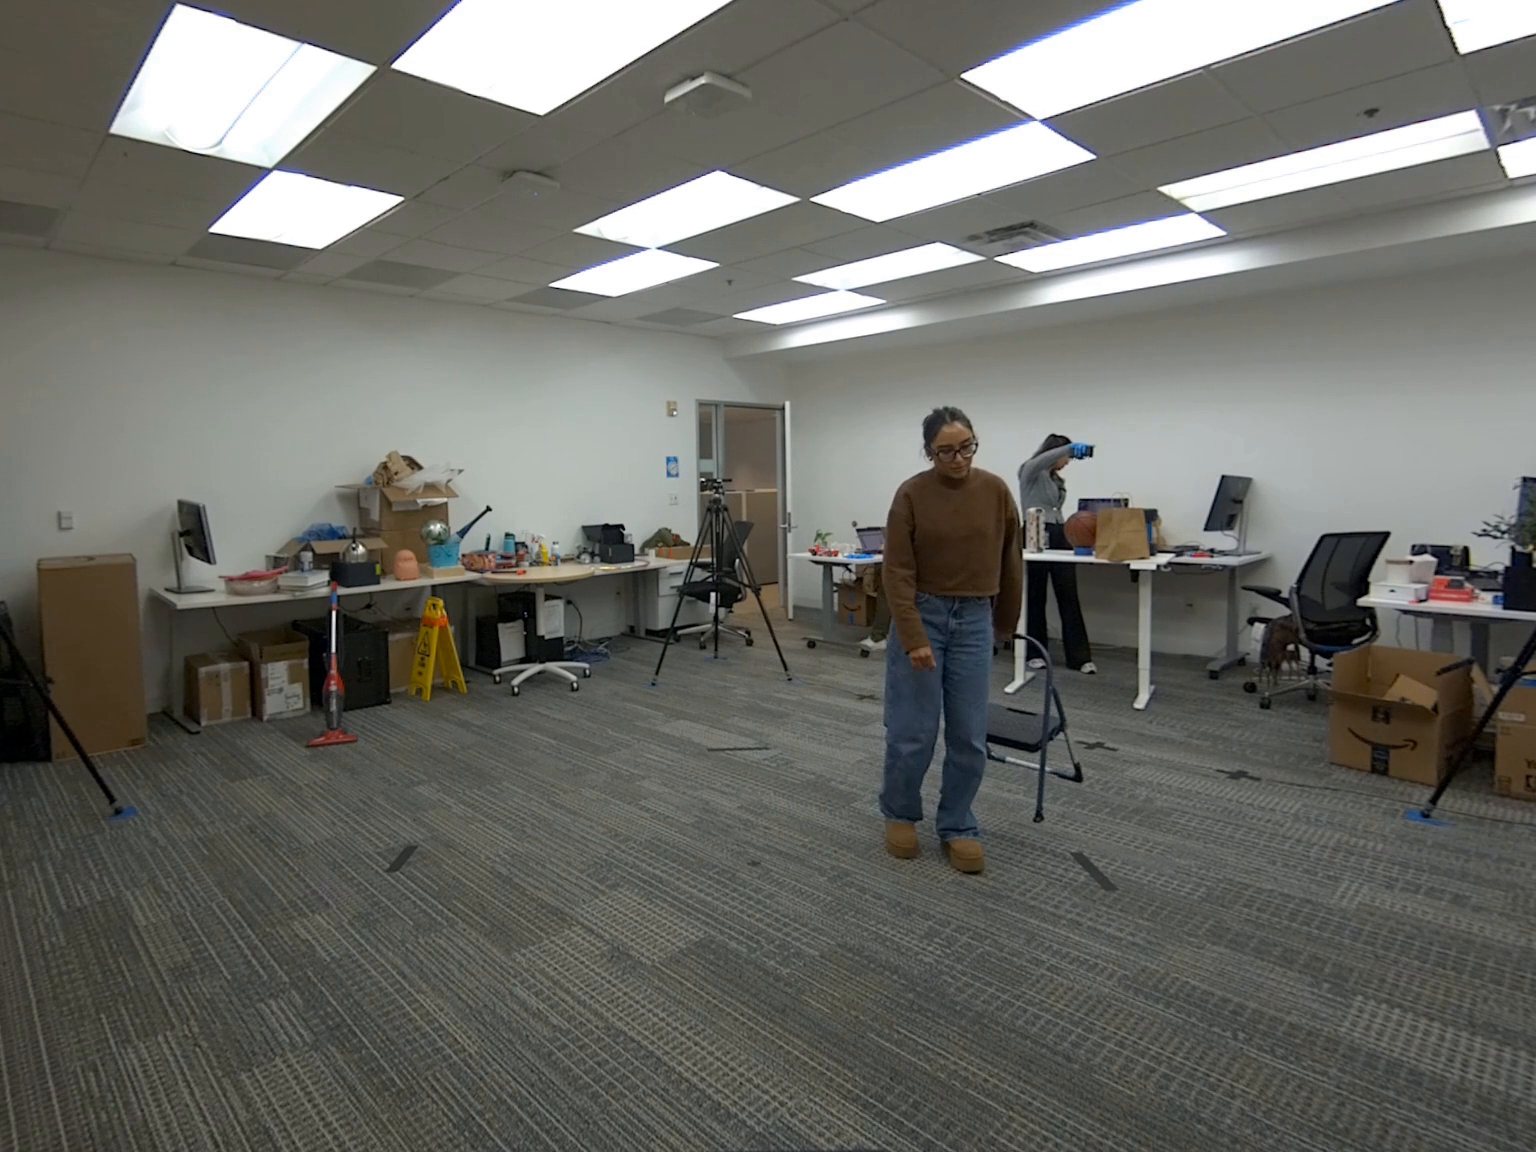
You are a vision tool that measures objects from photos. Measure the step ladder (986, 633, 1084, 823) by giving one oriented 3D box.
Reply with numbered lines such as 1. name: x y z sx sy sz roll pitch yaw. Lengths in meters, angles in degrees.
1. step ladder: 0.904 0.532 3.255 0.343 0.599 0.444 -19 16 -41
